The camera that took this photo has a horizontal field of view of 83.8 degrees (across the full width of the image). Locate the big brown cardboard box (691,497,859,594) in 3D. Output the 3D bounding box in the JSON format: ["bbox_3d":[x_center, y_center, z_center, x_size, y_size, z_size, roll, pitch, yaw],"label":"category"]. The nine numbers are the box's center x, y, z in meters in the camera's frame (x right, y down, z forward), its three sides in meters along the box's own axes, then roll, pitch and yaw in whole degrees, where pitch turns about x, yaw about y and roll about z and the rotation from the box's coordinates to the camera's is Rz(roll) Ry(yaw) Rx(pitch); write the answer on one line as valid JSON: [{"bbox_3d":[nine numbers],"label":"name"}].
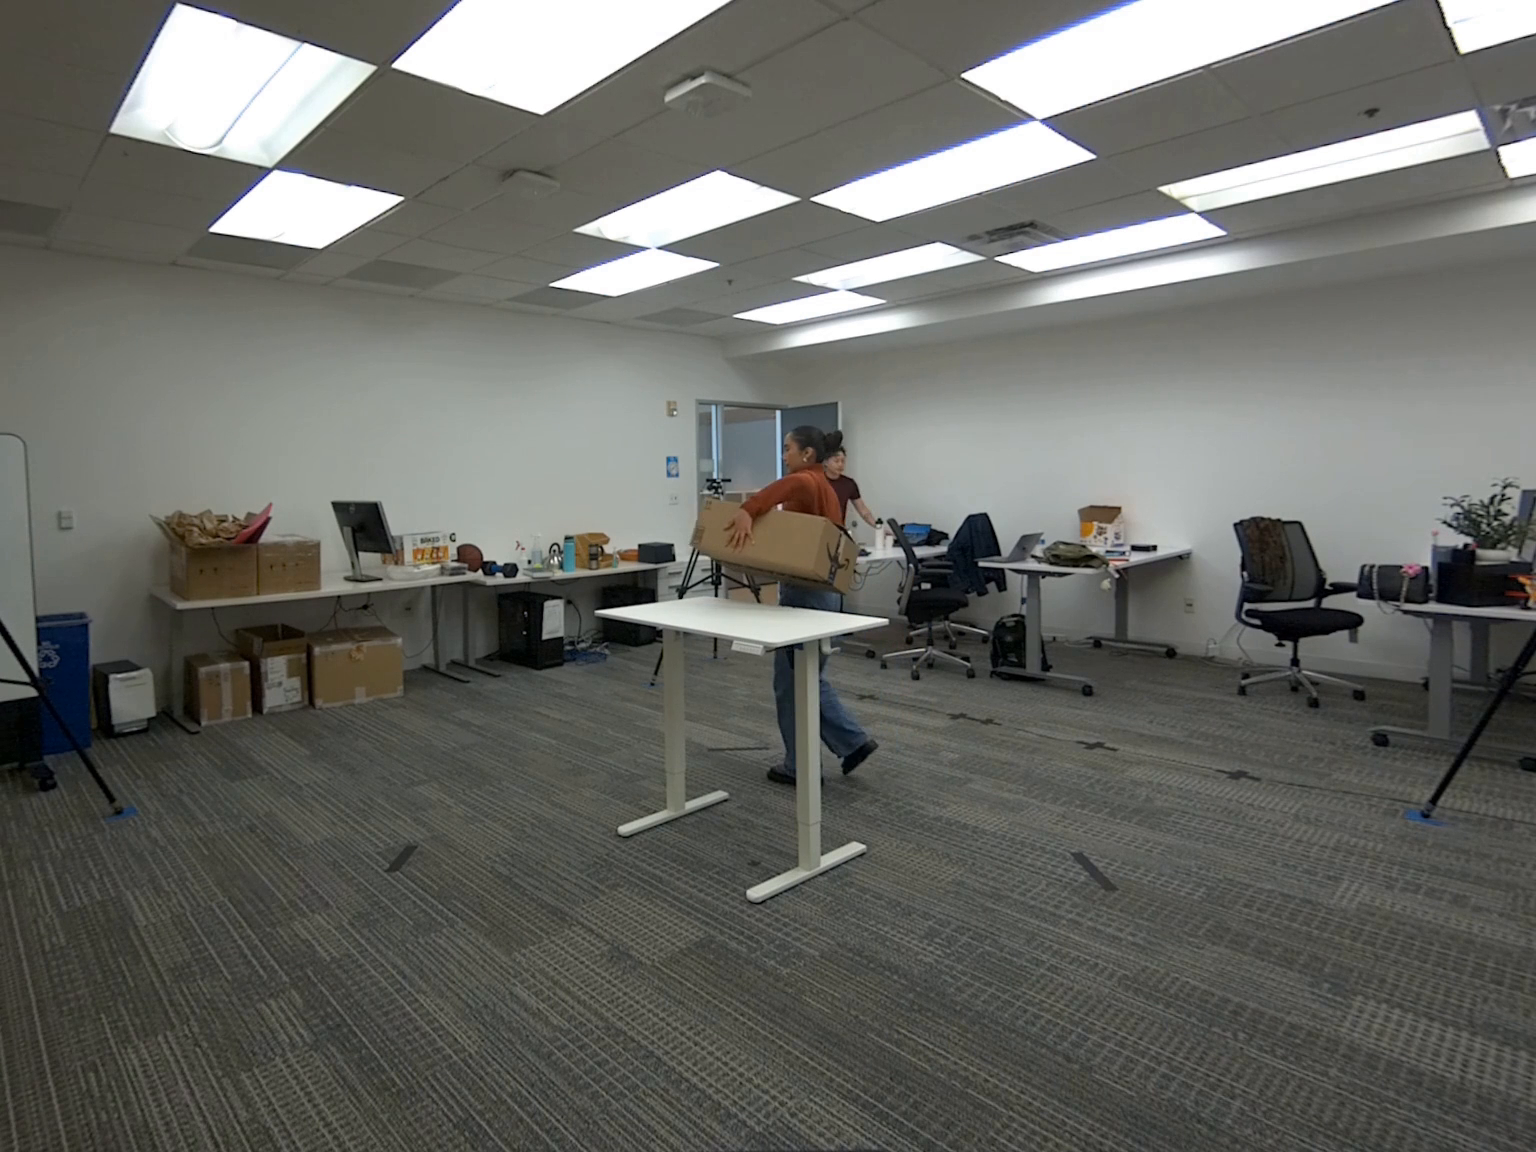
[{"bbox_3d":[0.034,-0.125,3.596,0.606,0.234,0.403,13,-9,29],"label":"big brown cardboard box"}]
